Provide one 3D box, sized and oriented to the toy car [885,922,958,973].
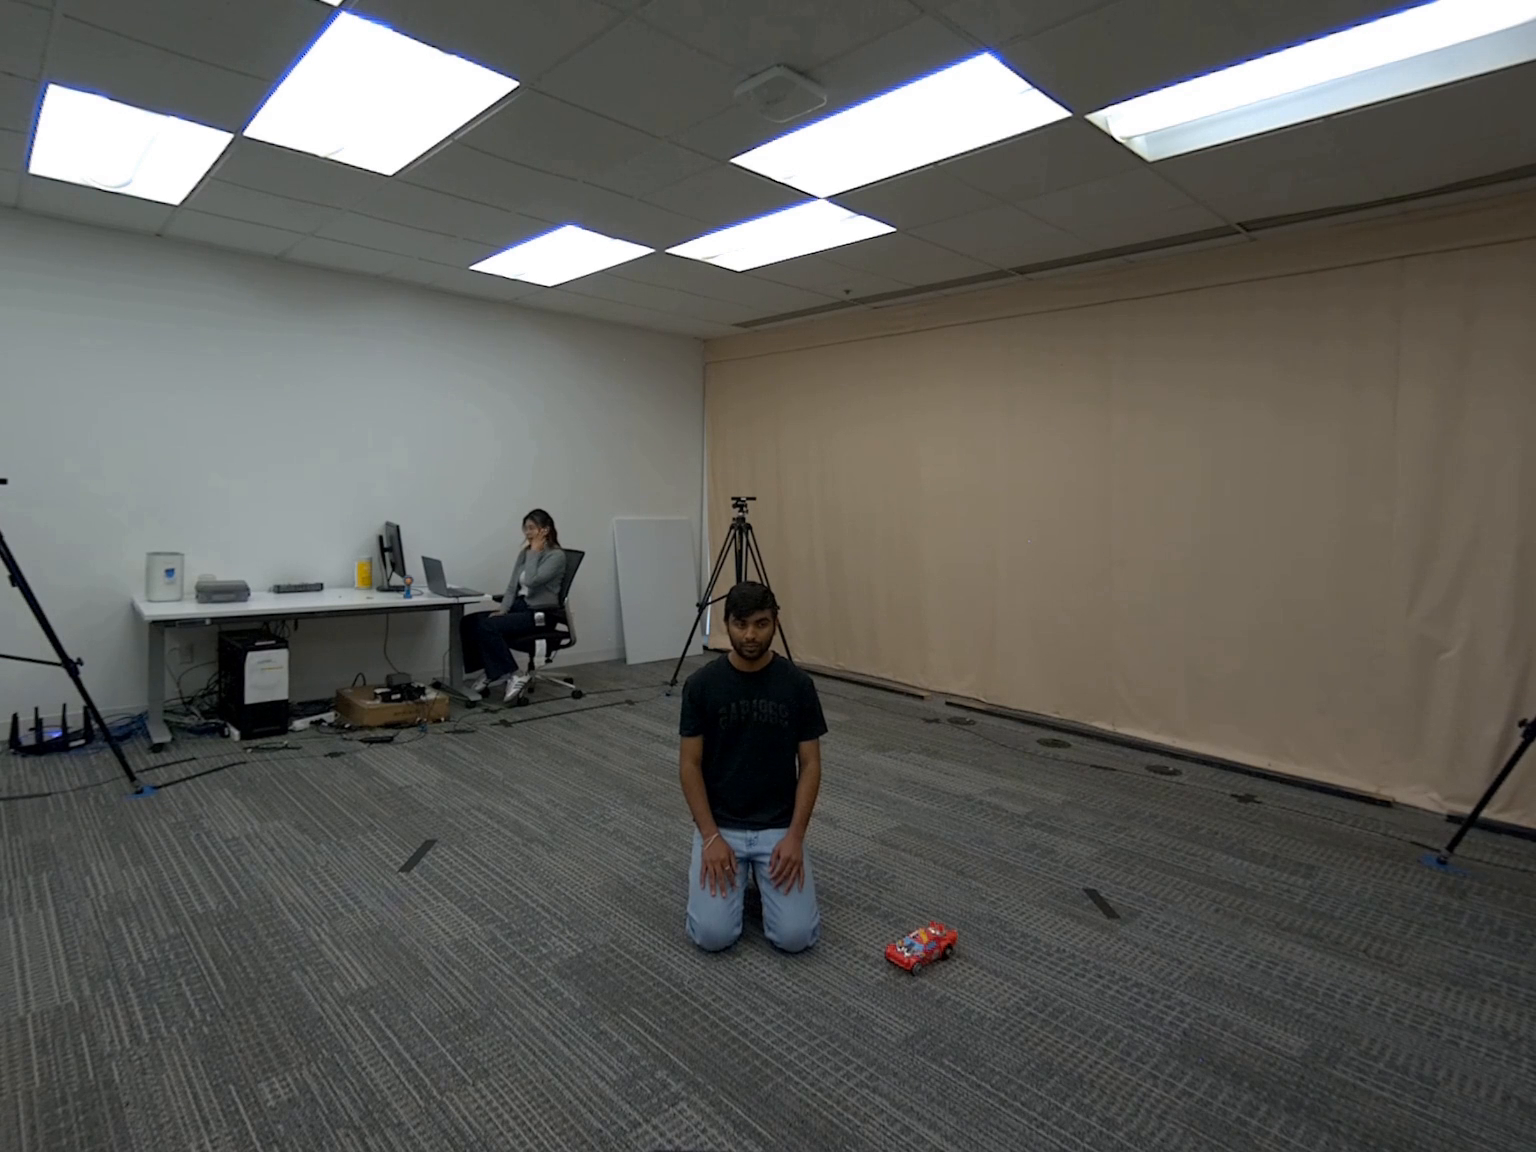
[{"bbox_3d":[0.474,1.134,2.576,0.250,0.082,0.134,-16,15,-38],"label":"toy car"}]
